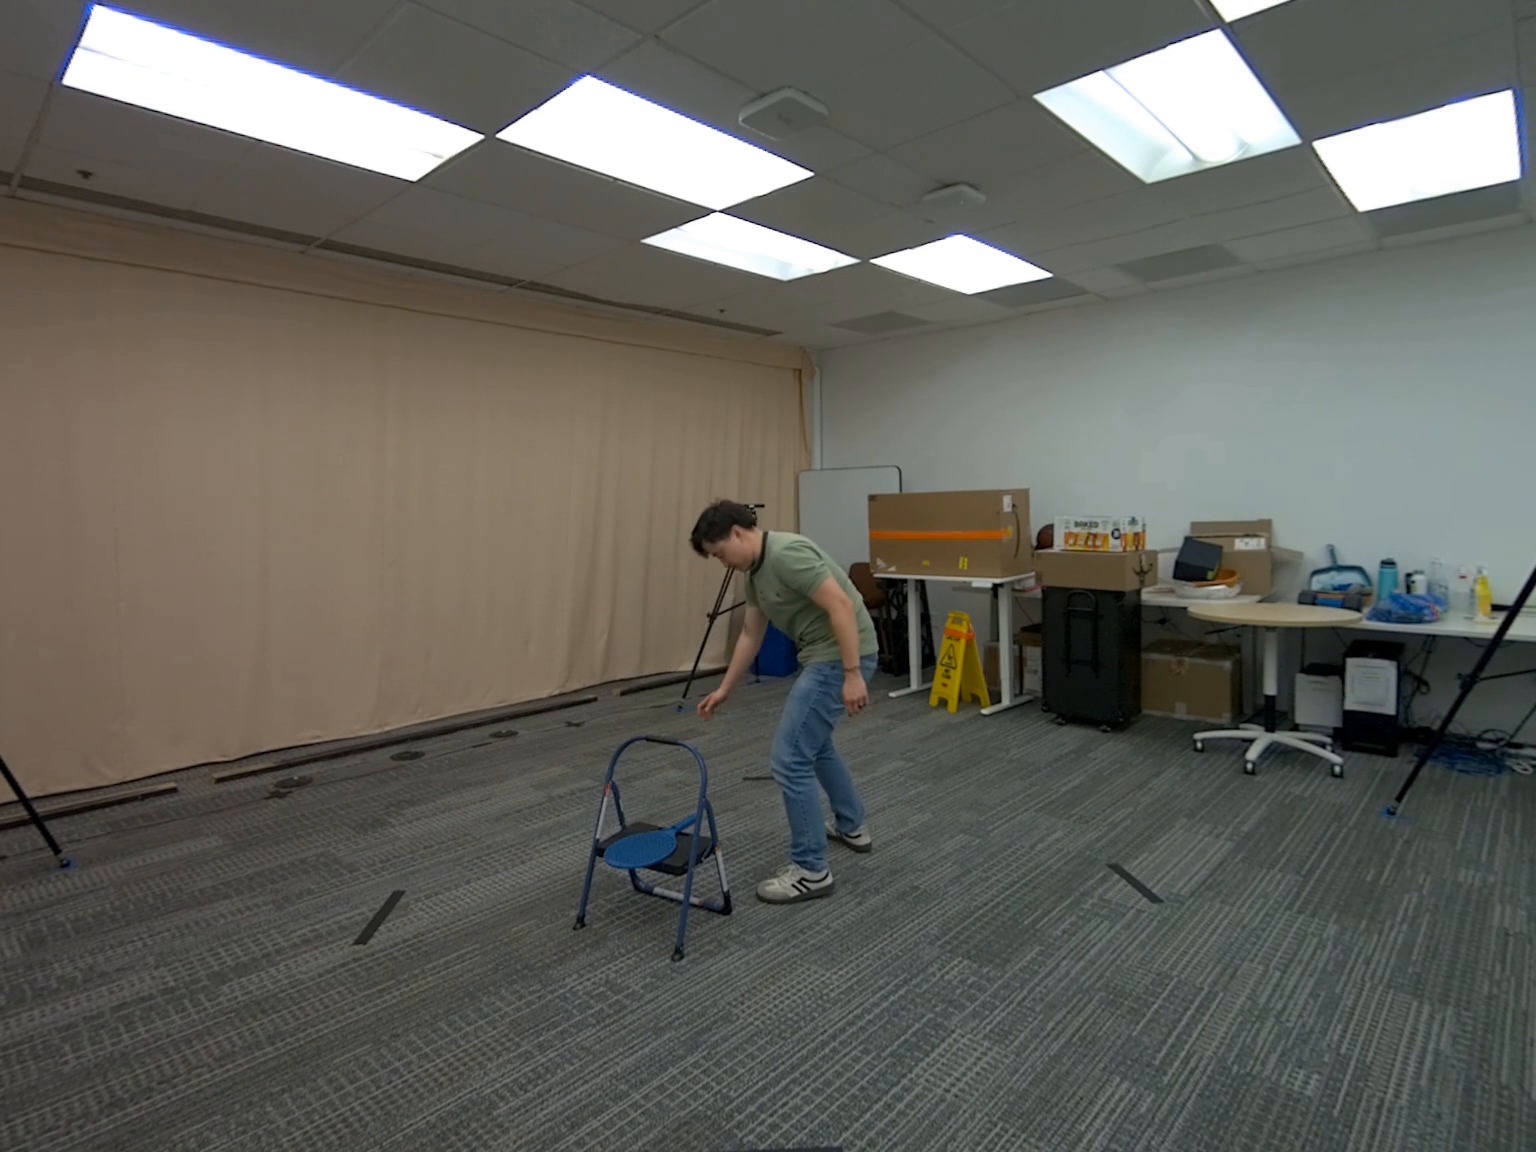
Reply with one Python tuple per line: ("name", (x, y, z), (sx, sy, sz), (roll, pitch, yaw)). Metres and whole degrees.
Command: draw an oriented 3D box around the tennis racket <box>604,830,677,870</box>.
("tennis racket", (-0.378, 0.889, 2.830), (0.220, 0.031, 0.422), (1, 8, 34))
